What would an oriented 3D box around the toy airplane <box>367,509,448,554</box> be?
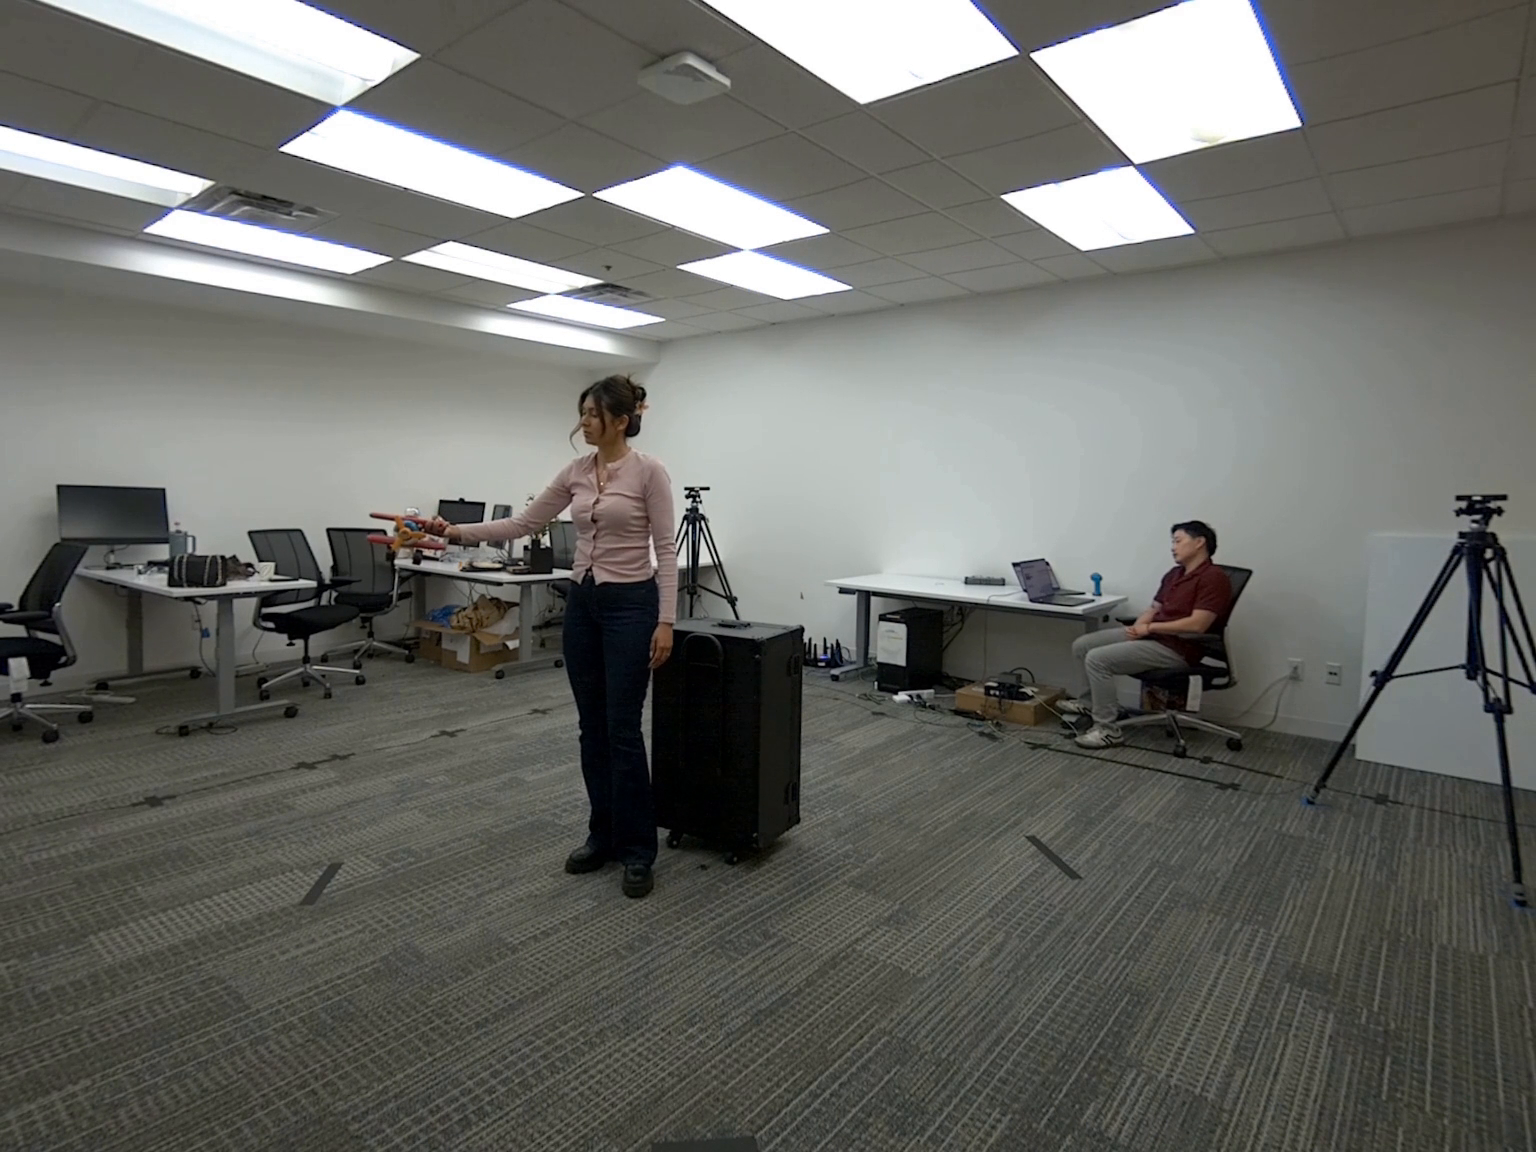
[{"bbox_3d":[-1.263,-0.150,2.895,0.244,0.154,0.270,-6,27,-44],"label":"toy airplane"}]
